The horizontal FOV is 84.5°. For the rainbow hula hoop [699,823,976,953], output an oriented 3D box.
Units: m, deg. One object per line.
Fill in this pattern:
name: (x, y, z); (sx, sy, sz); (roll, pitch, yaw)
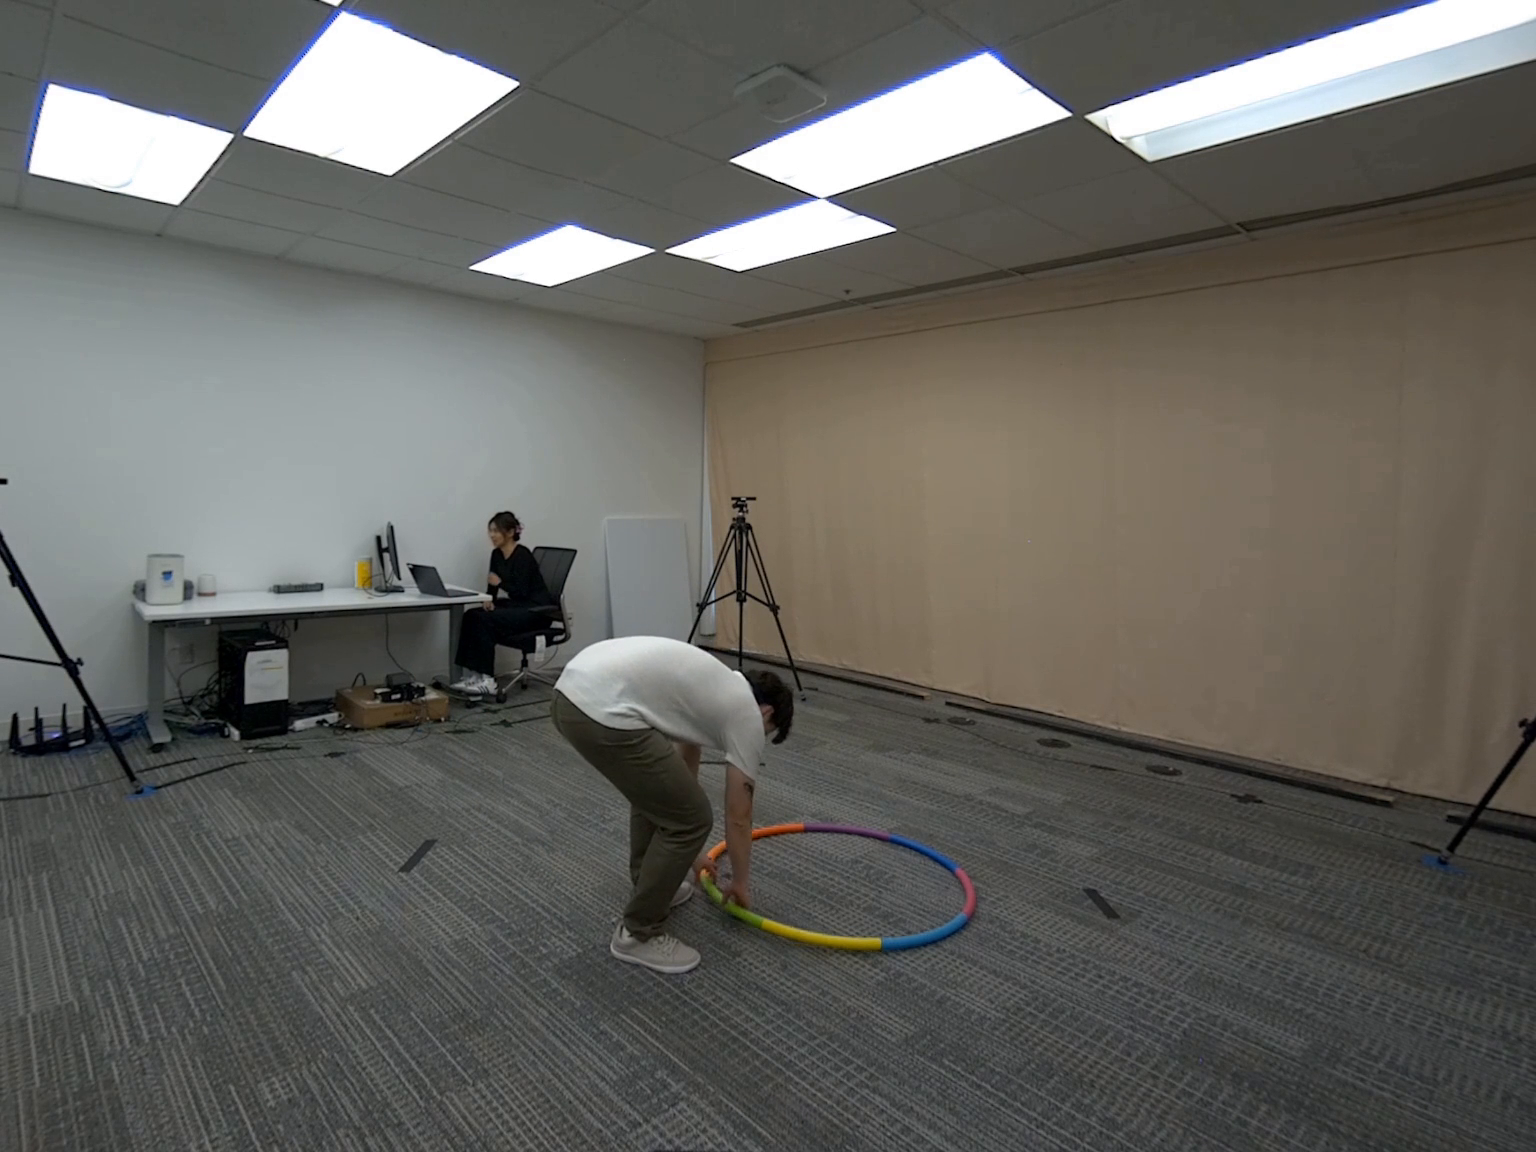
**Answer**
rainbow hula hoop: (0.239, 1.077, 3.069); (0.978, 0.035, 0.981); (2, 4, -1)
